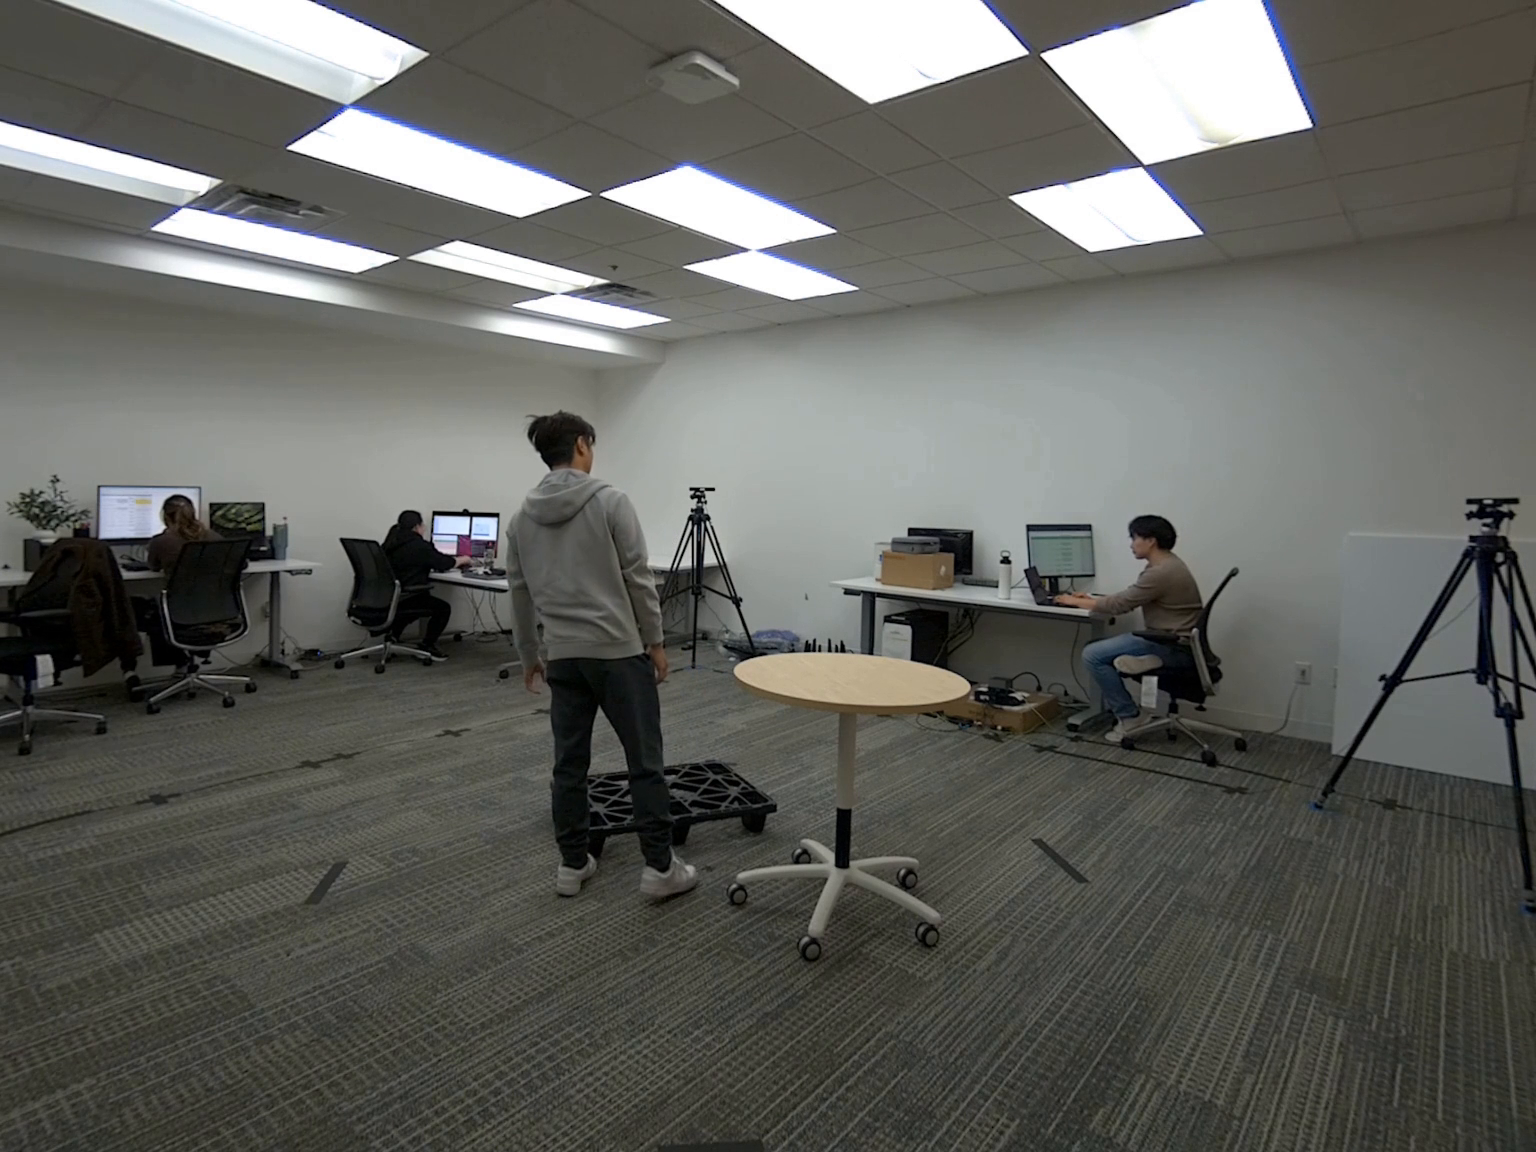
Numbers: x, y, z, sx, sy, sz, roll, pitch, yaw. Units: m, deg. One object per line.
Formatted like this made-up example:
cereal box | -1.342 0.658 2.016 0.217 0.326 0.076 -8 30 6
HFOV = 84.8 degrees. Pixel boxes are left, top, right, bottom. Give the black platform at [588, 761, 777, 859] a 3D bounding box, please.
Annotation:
black platform | -0.449 0.952 3.528 0.787 0.143 0.622 -2 7 -24
